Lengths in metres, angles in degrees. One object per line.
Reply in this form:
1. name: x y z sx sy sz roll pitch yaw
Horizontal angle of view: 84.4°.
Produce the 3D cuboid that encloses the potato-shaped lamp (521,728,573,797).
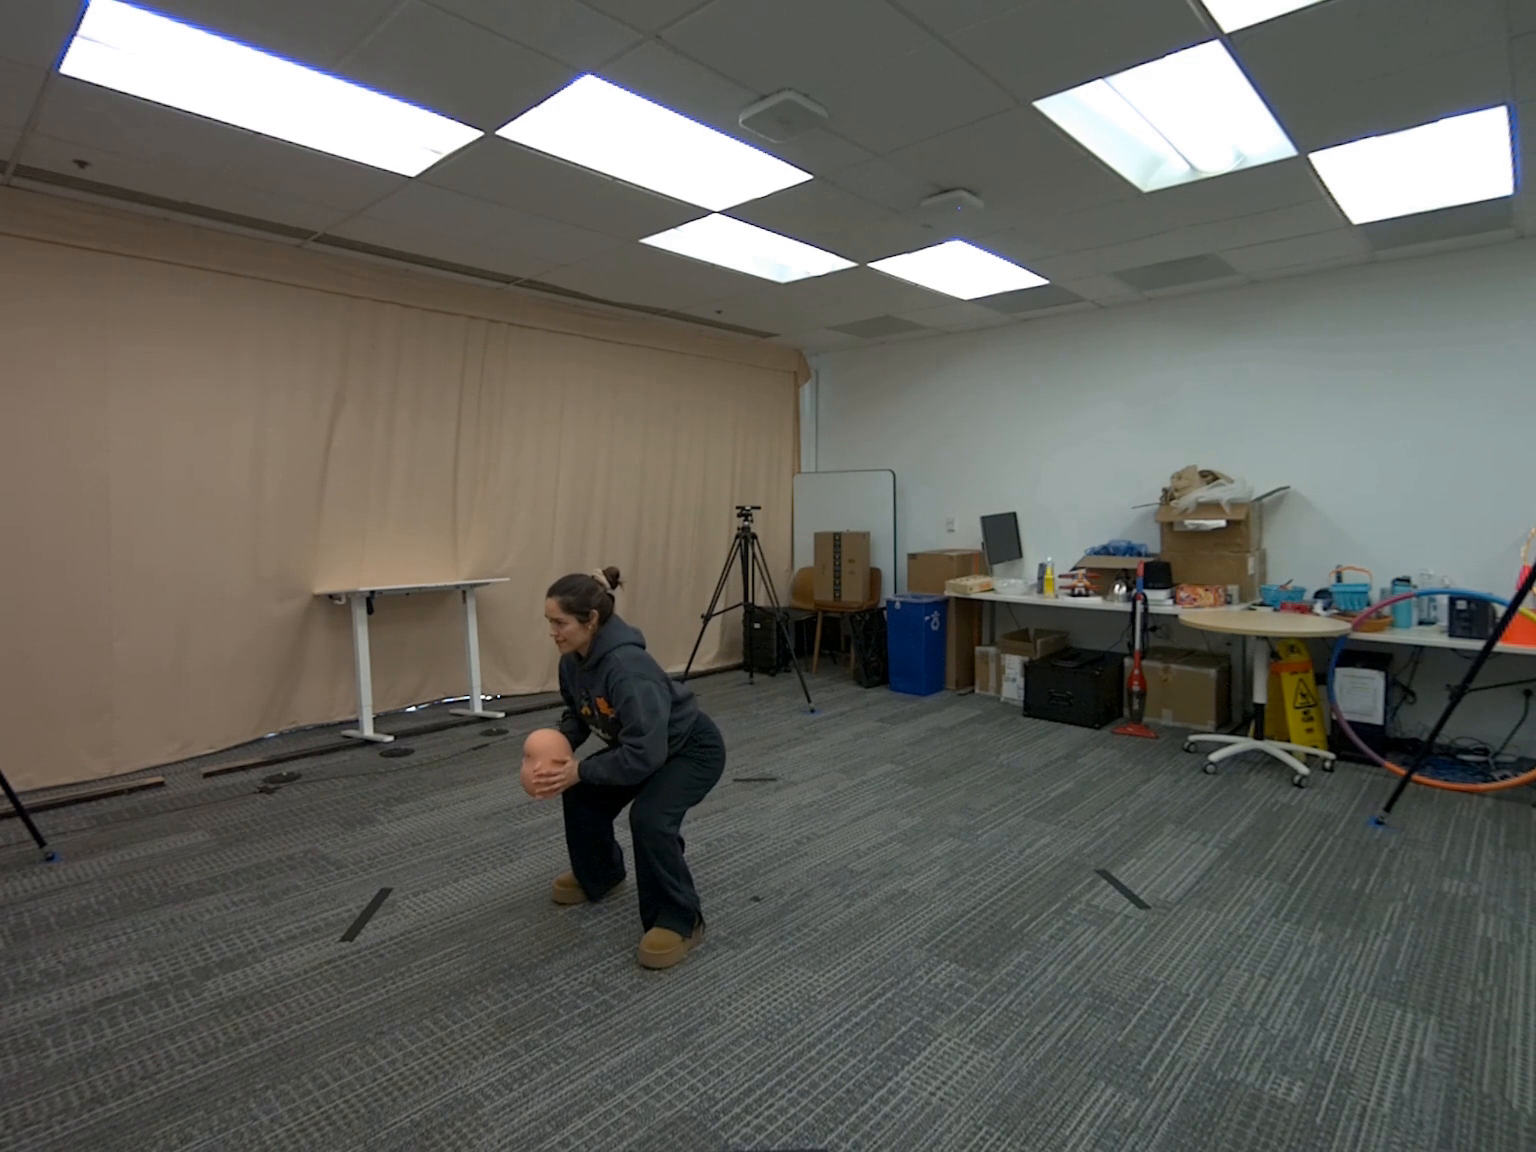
1. potato-shaped lamp: -0.683 0.577 2.642 0.168 0.197 0.169 -16 9 -29
